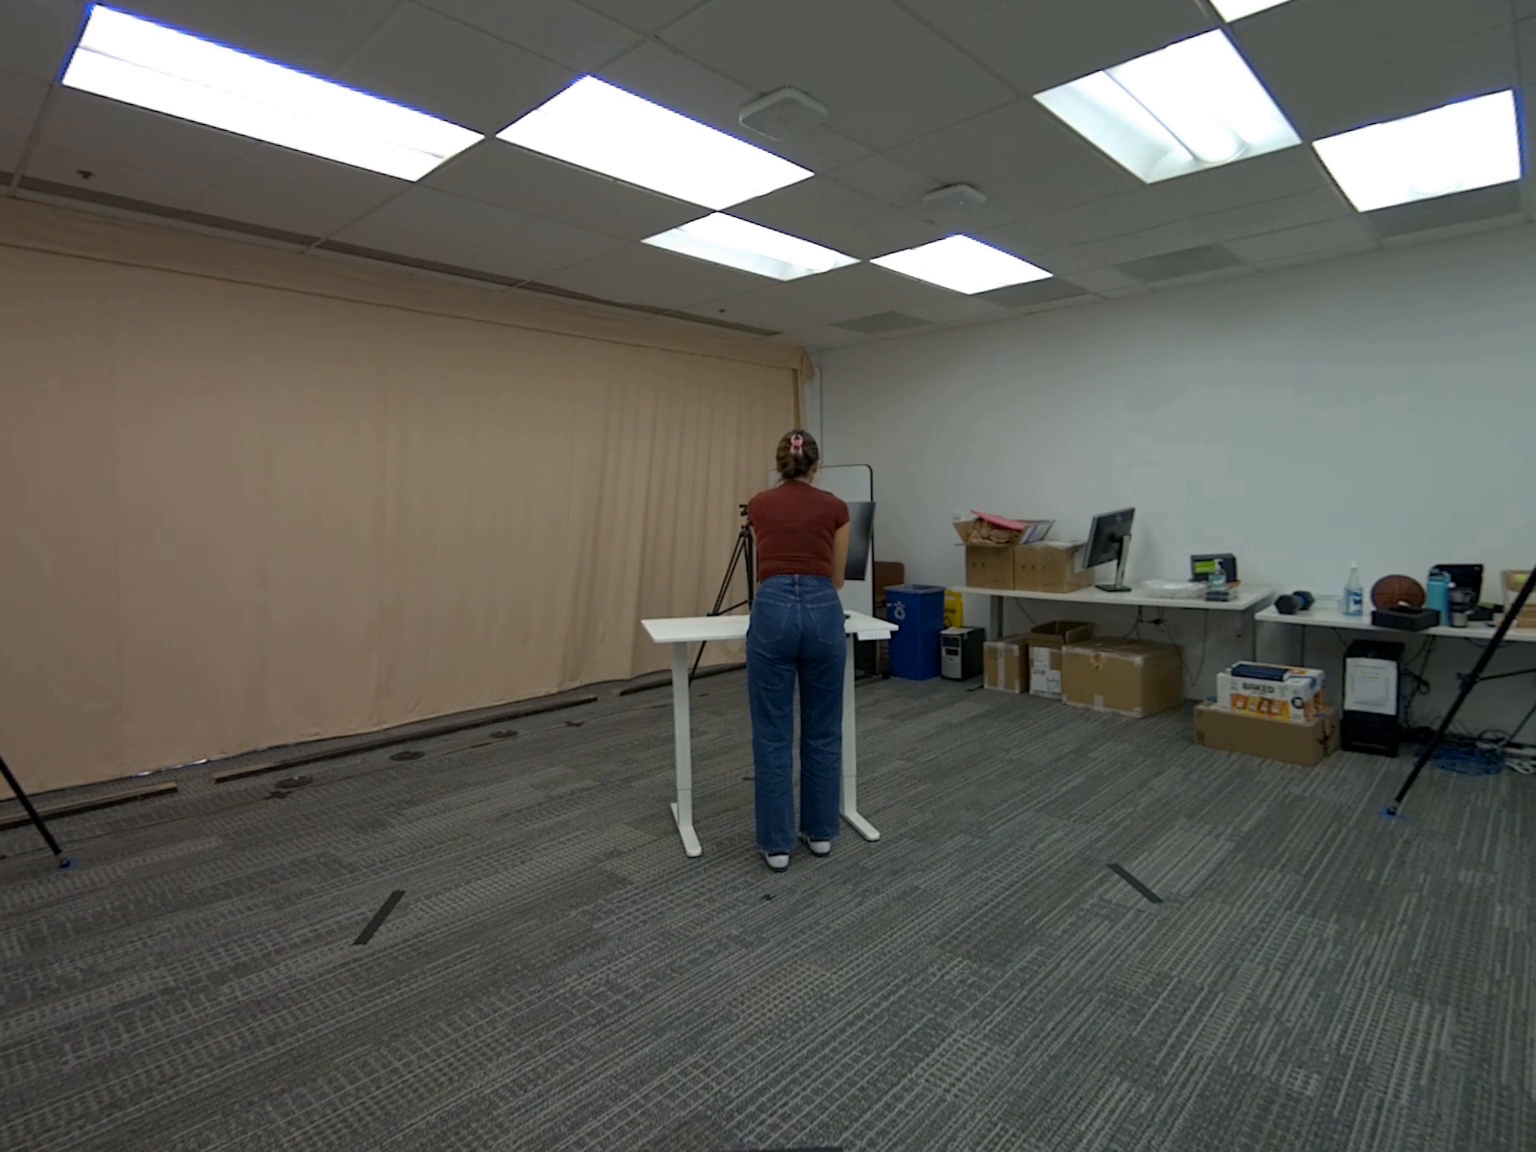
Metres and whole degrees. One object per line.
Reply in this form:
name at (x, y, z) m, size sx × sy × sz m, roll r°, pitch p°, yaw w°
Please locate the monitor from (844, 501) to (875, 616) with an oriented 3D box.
monitor at (0.230, -0.071, 3.777) m, size 0.556 × 0.522 × 0.181 m, roll 1°, pitch 1°, yaw 35°
